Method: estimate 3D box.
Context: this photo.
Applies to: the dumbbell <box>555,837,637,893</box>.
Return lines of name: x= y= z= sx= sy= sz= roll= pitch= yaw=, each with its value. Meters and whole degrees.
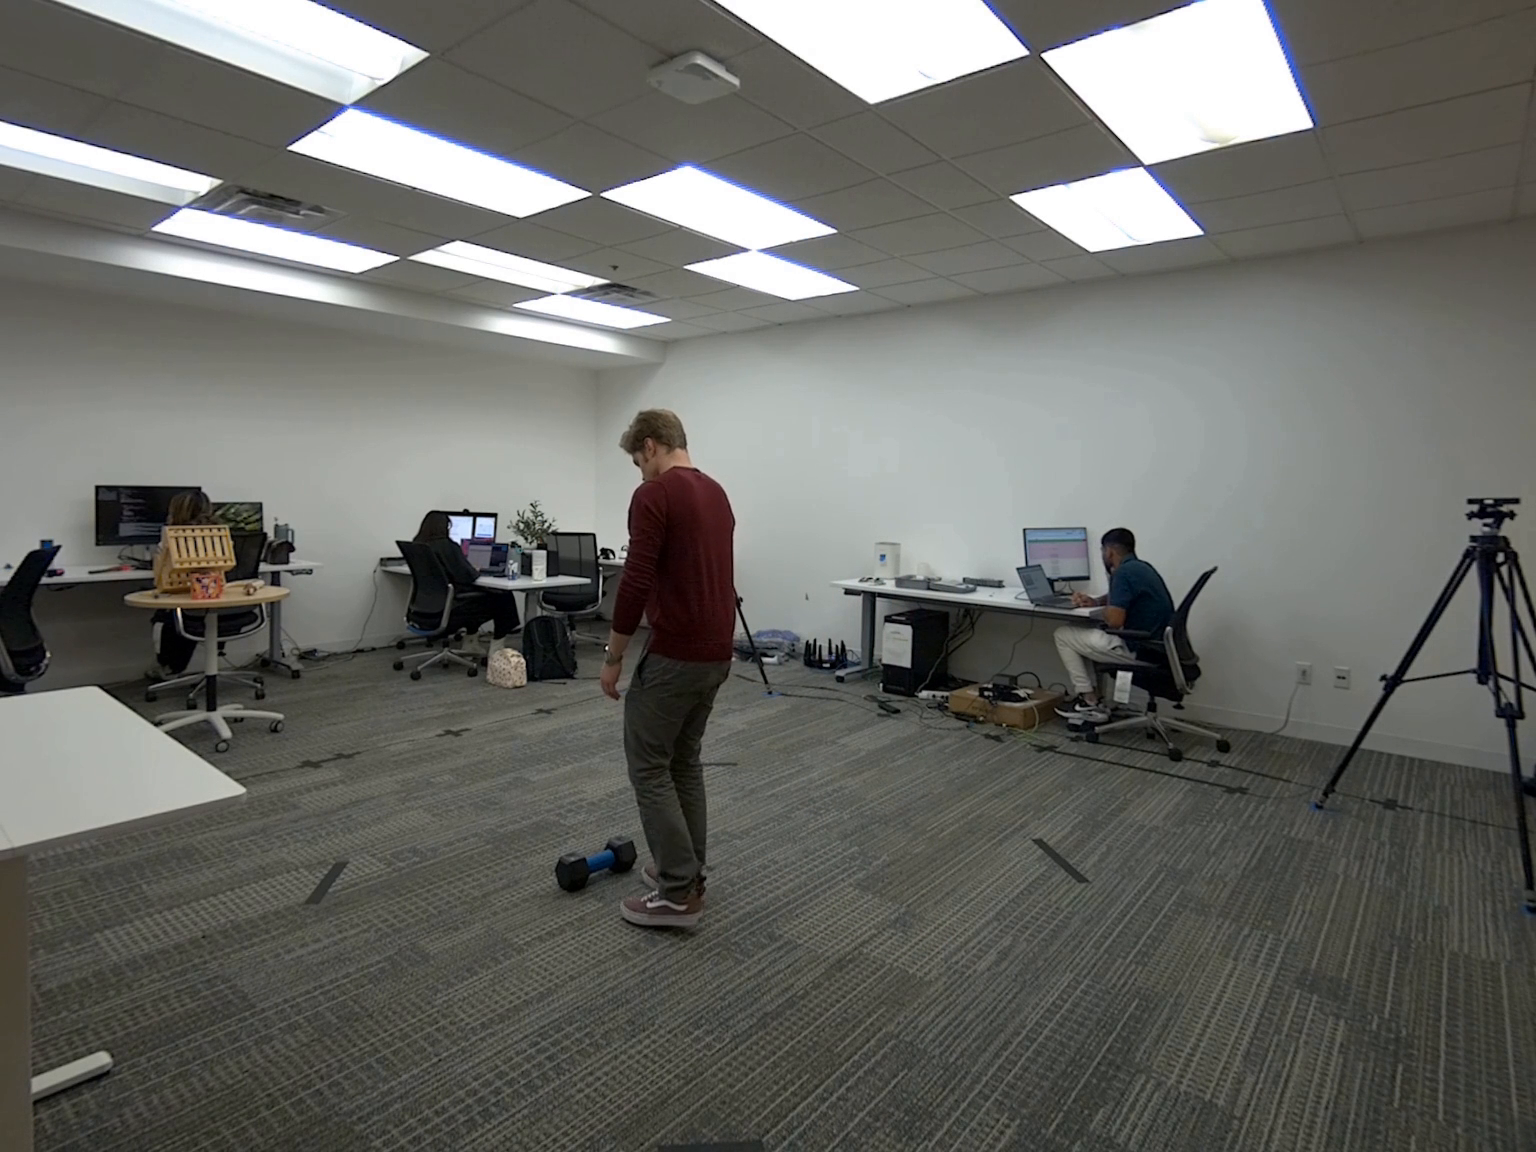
dumbbell: x=-0.616 y=1.015 z=3.019 sx=0.285 sy=0.126 sz=0.109 roll=-4 pitch=-24 yaw=-46
